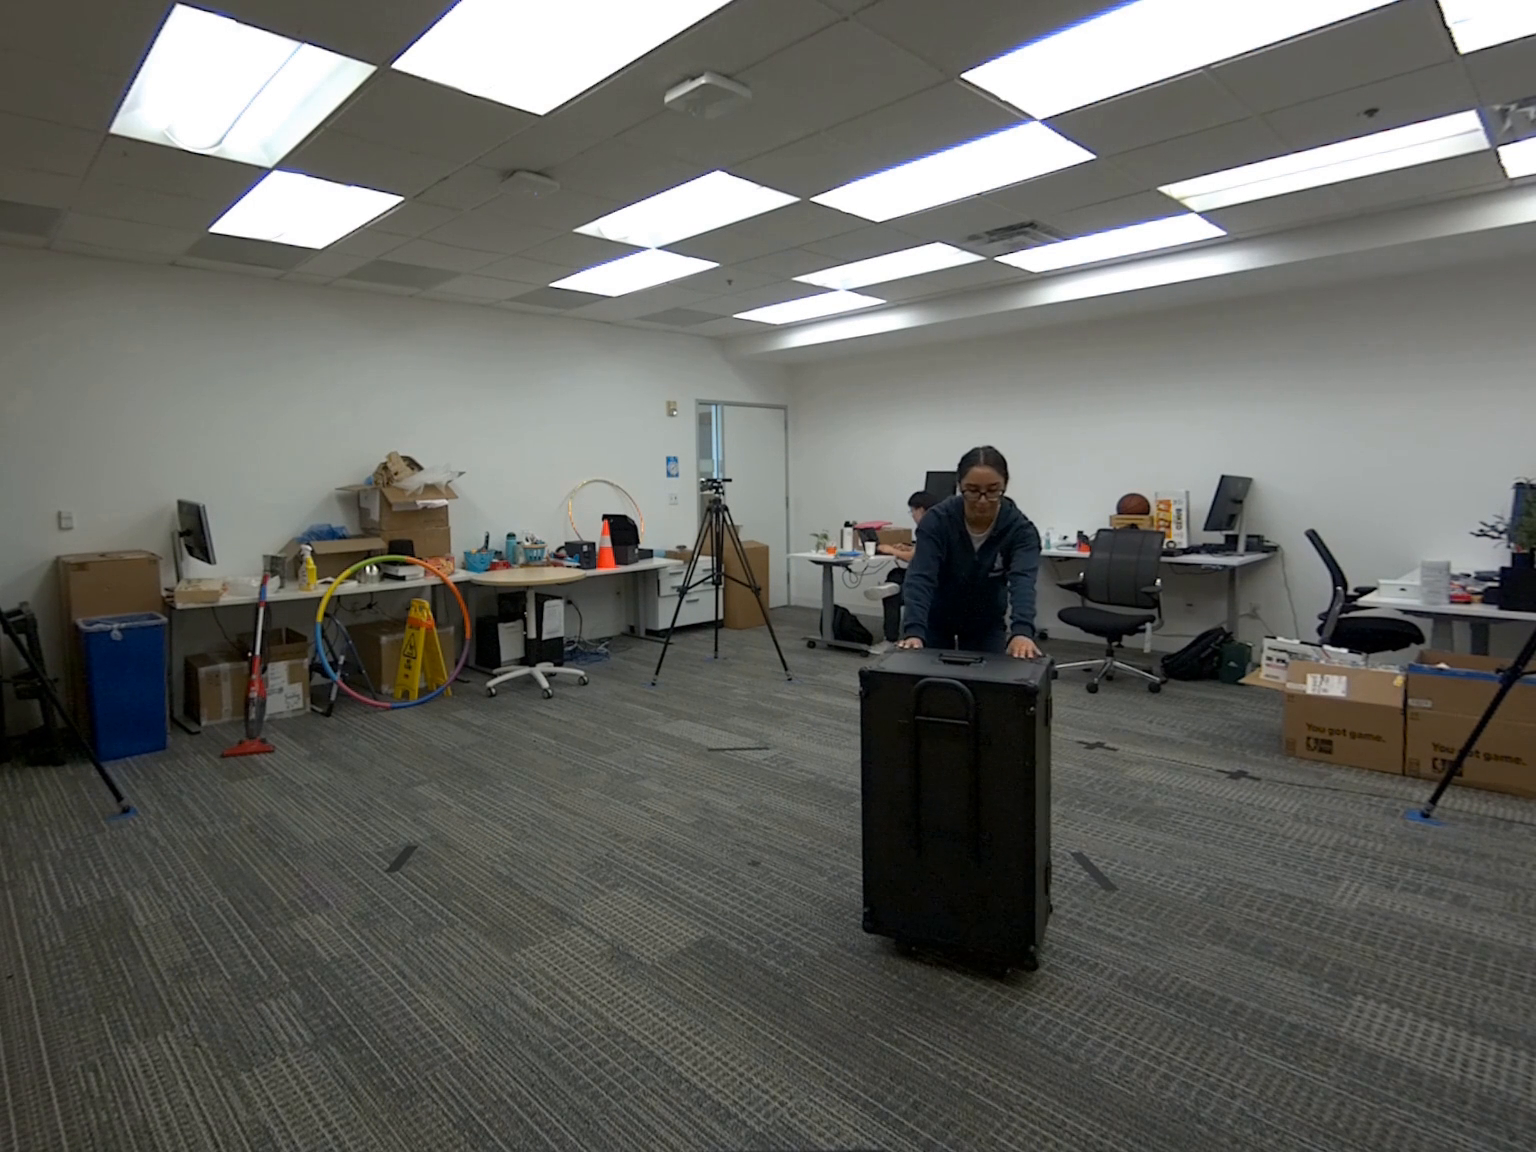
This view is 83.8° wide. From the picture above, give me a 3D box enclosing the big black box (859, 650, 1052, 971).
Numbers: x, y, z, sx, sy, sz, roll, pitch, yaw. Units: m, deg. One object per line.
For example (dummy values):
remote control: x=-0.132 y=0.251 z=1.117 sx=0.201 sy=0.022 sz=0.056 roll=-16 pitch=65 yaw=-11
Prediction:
big black box: x=0.563 y=0.675 z=2.508 sx=0.534 sy=0.858 sz=0.388 roll=1 pitch=5 yaw=27
